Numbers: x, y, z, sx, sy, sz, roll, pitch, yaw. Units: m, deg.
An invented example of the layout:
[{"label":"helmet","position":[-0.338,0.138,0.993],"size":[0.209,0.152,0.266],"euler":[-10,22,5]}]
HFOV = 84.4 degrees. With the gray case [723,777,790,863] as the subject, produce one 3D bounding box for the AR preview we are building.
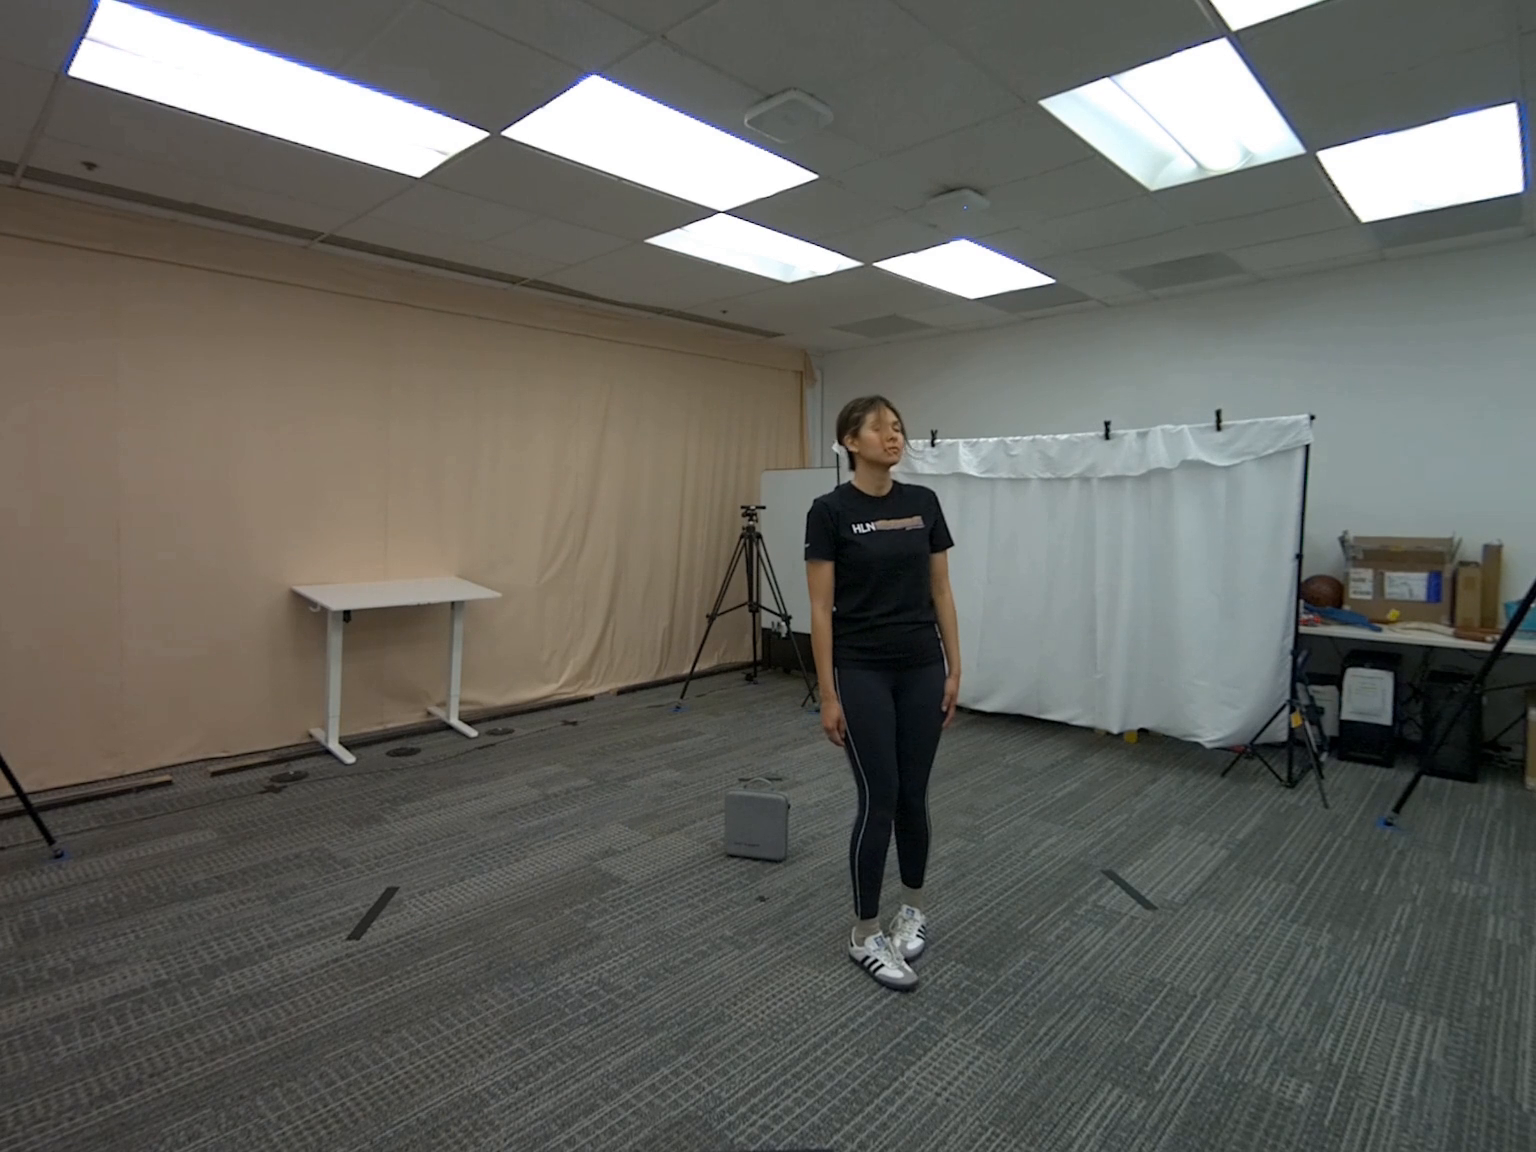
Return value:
[{"label":"gray case","position":[-0.044,0.978,3.352],"size":[0.262,0.261,0.102],"euler":[1,-4,18]}]
